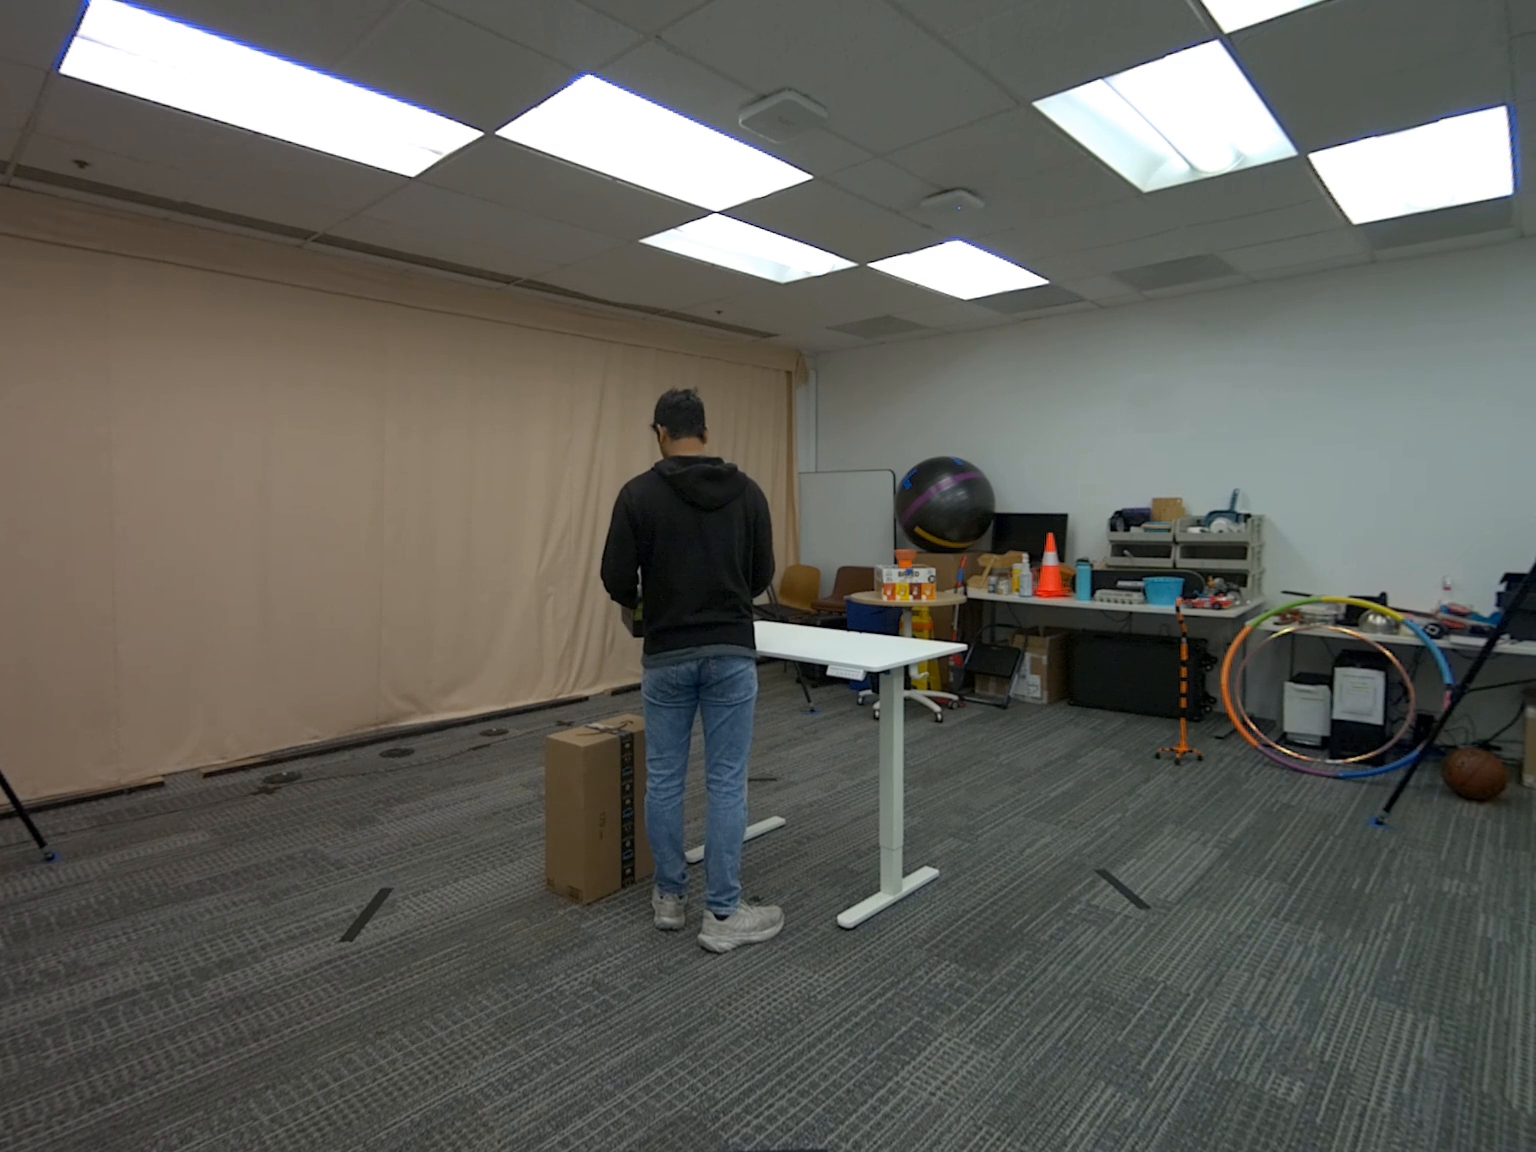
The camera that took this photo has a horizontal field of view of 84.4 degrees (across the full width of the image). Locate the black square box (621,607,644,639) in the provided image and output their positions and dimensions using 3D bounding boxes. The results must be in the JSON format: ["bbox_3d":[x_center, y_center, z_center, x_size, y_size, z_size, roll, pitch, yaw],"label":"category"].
[{"bbox_3d":[-0.415,0.127,3.206,0.224,0.155,0.222,-1,13,-16],"label":"black square box"}]
